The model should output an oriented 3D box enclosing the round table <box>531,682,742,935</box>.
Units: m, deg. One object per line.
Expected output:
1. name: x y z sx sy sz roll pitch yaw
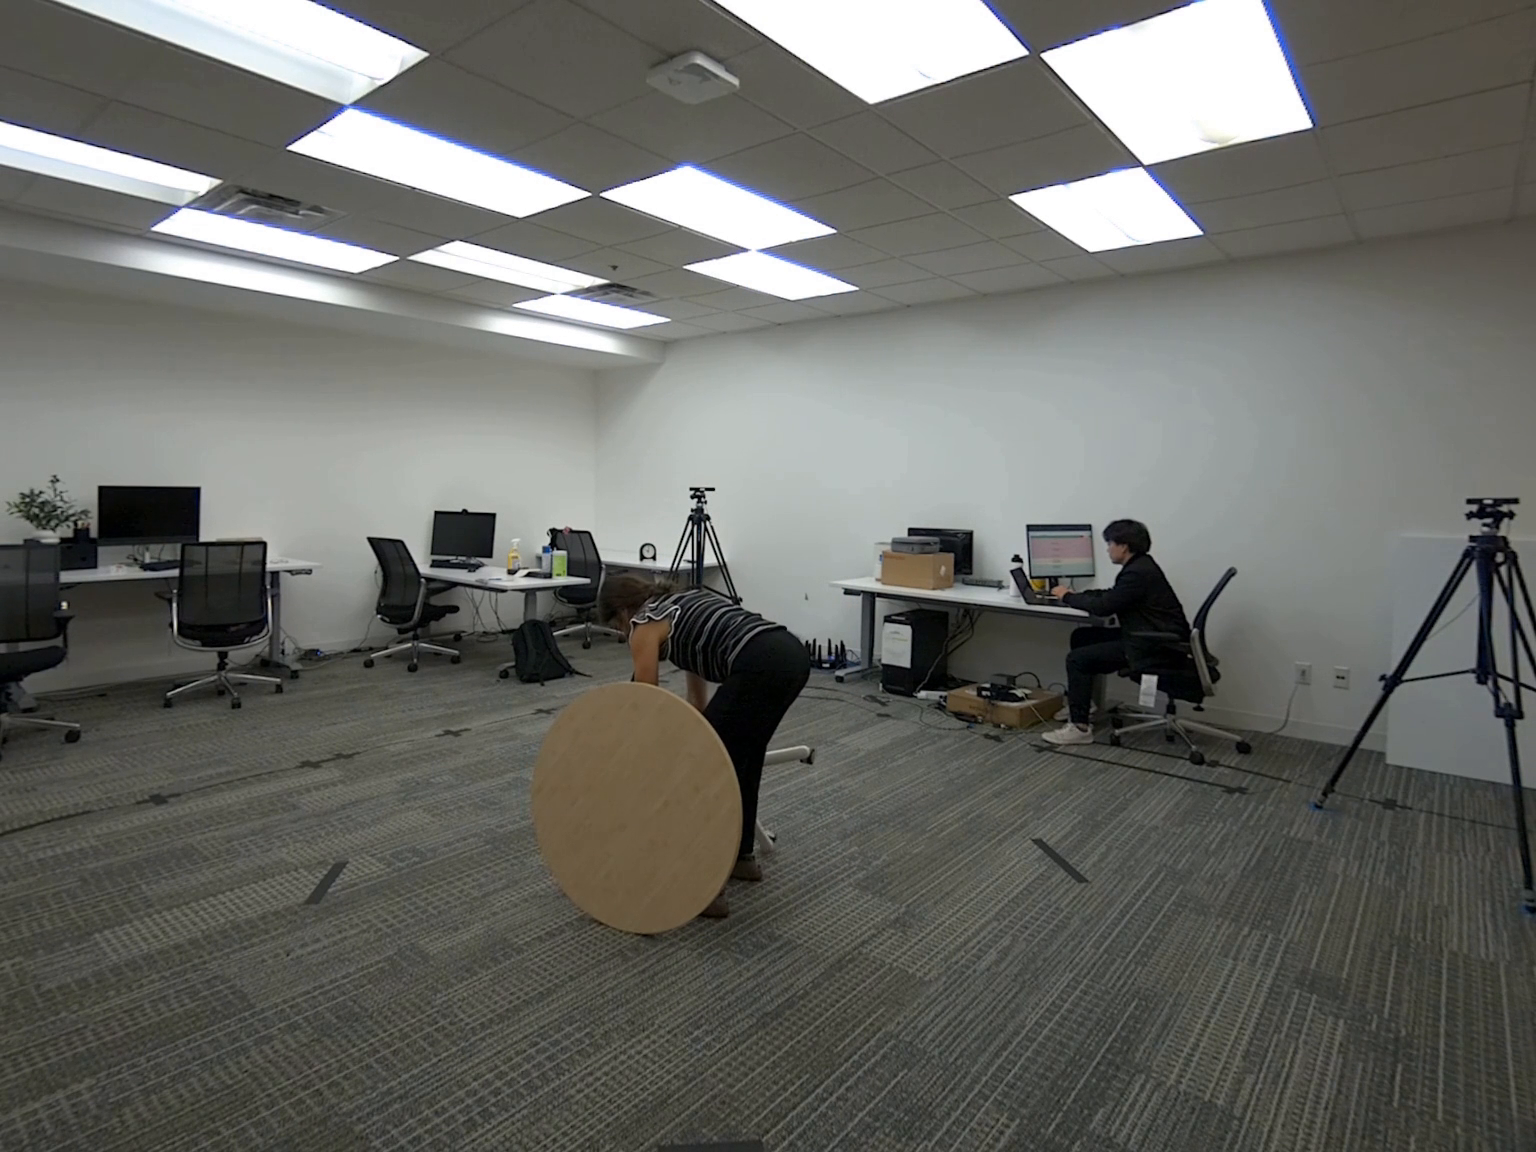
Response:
1. round table: -0.294 0.731 3.032 0.784 0.766 0.772 3 -2 25
